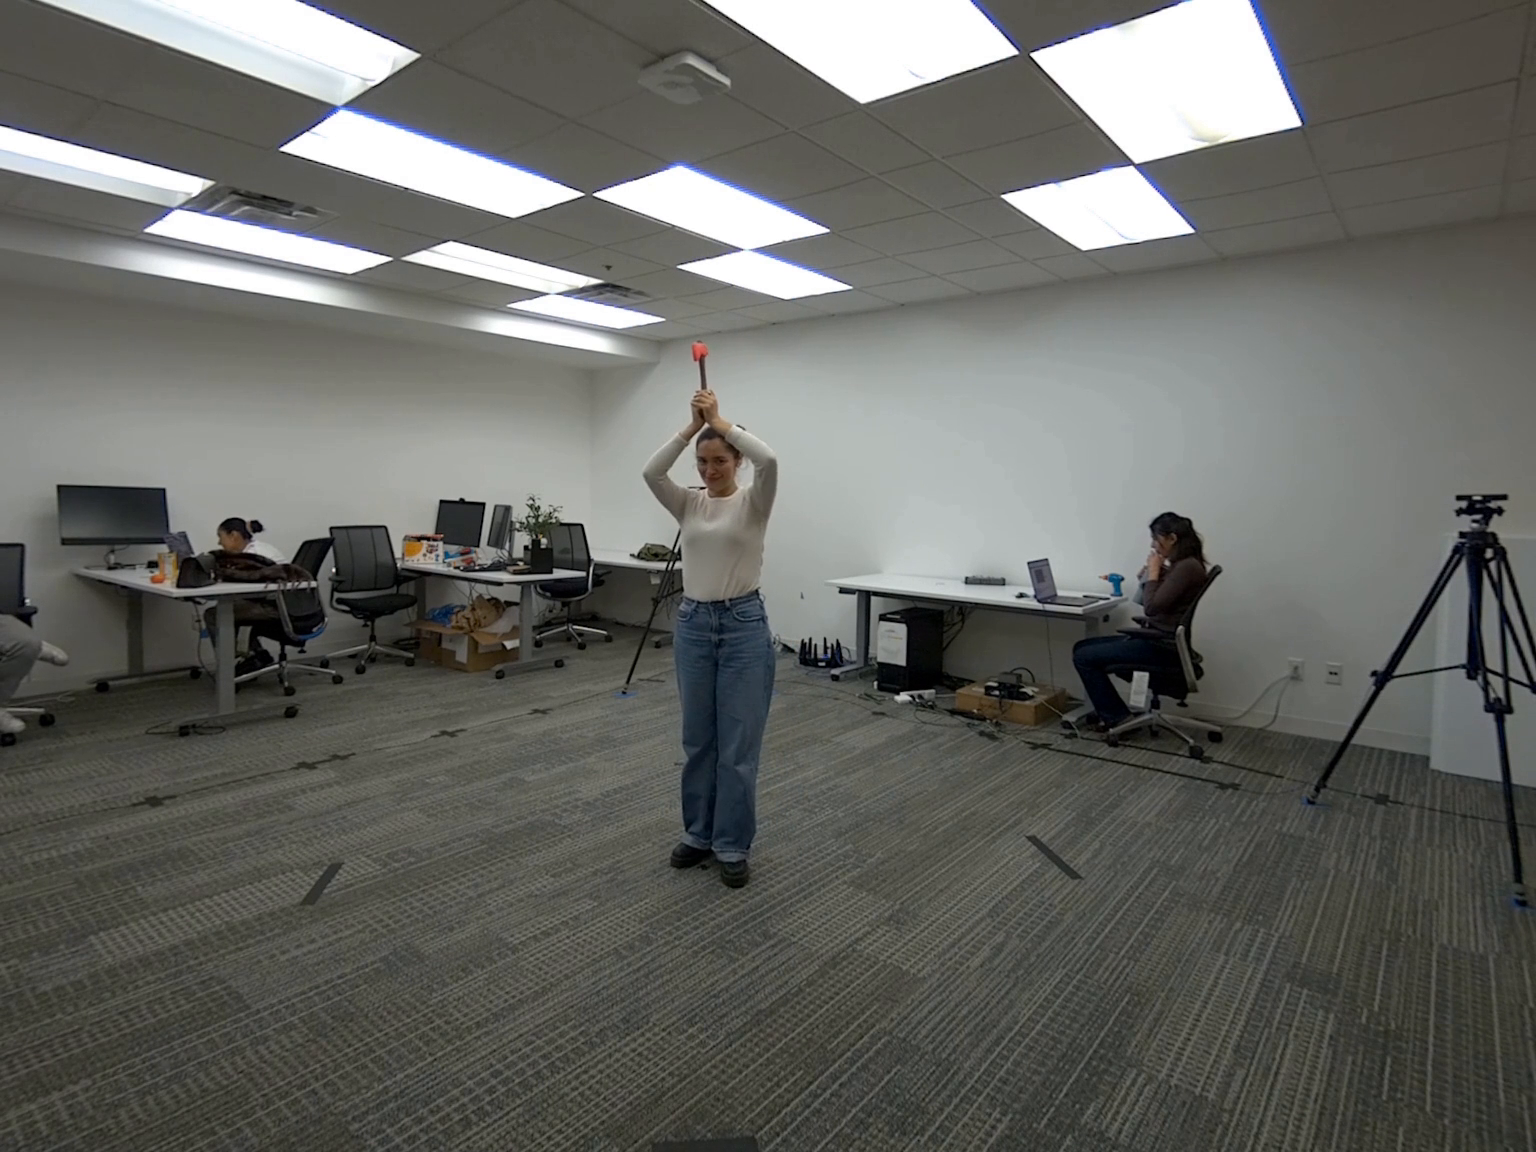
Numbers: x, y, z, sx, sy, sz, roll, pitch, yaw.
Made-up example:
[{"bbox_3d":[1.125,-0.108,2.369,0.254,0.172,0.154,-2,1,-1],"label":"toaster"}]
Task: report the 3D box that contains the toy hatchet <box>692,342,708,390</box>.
[{"bbox_3d":[-0.243,-0.693,2.926,0.030,0.275,0.127,-6,-19,14],"label":"toy hatchet"}]
